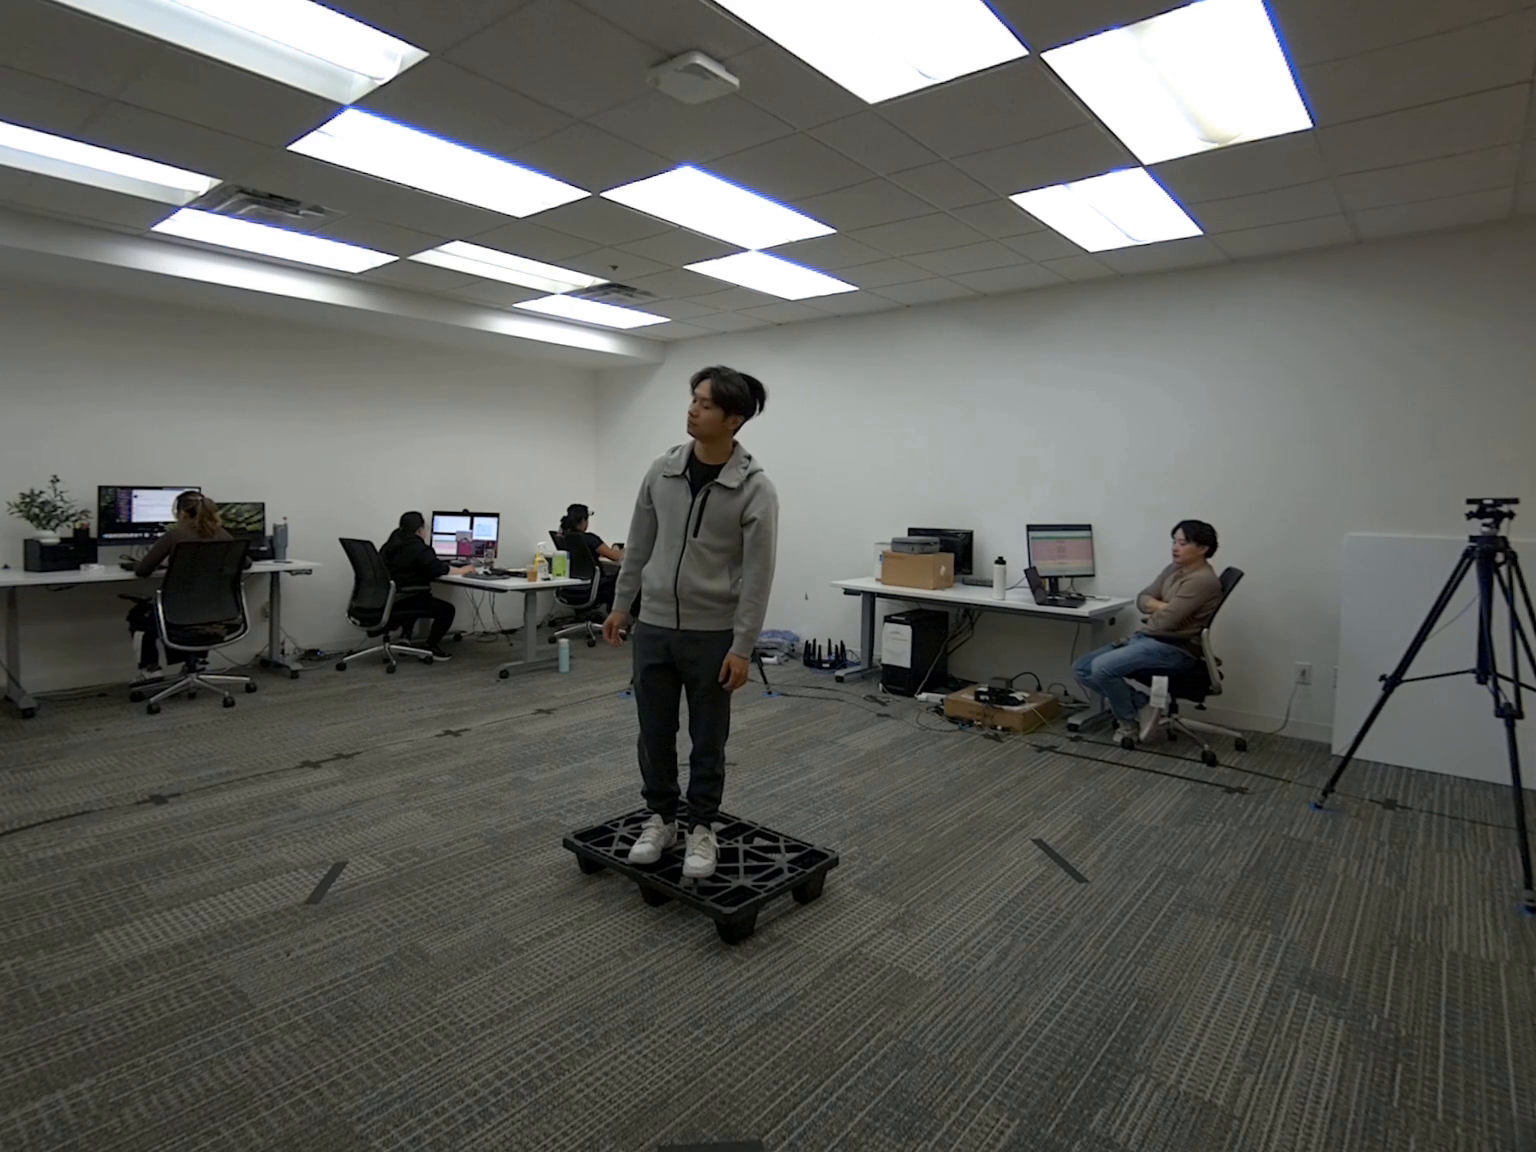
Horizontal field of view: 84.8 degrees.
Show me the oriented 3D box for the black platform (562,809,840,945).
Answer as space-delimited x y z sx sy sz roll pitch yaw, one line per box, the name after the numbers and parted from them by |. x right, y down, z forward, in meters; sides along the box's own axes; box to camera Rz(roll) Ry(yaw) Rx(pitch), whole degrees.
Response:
-0.256 1.009 2.998 0.833 0.143 0.587 6 7 40 | black platform
